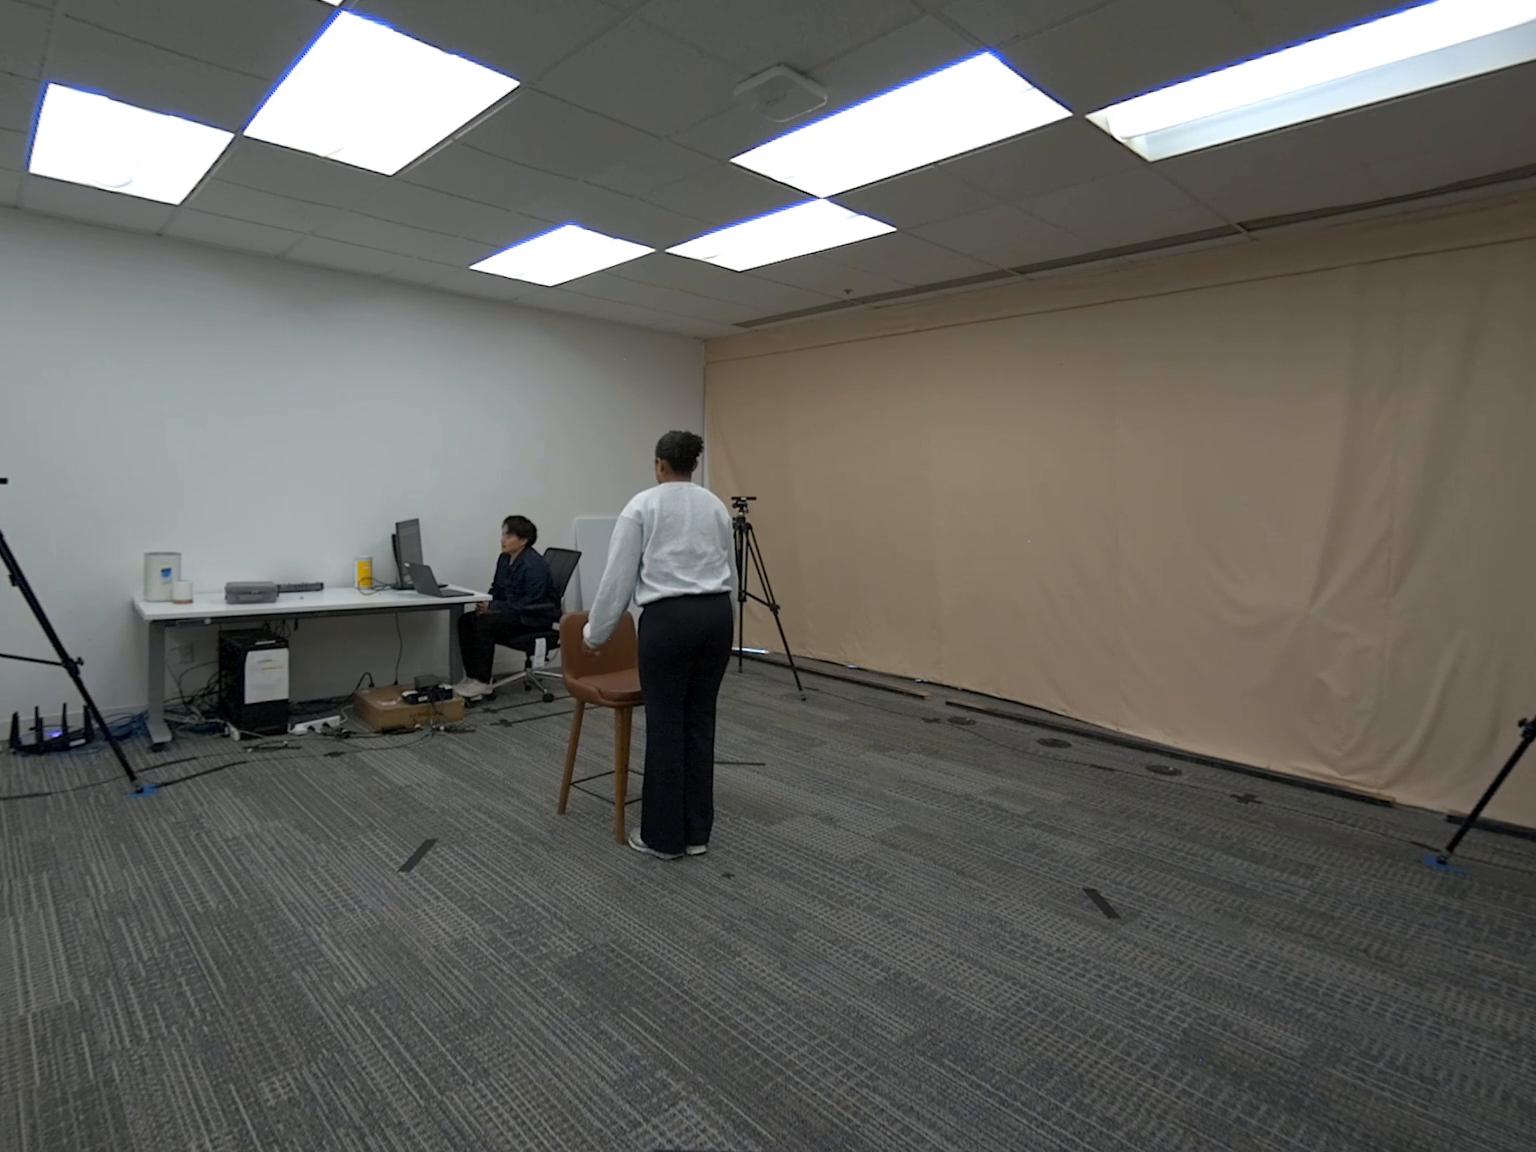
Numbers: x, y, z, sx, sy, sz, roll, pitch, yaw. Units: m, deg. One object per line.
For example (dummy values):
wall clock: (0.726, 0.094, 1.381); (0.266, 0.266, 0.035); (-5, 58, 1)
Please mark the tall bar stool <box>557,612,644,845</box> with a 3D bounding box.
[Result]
tall bar stool: (-0.633, 0.608, 3.639); (0.479, 0.889, 0.446); (2, 2, 42)
